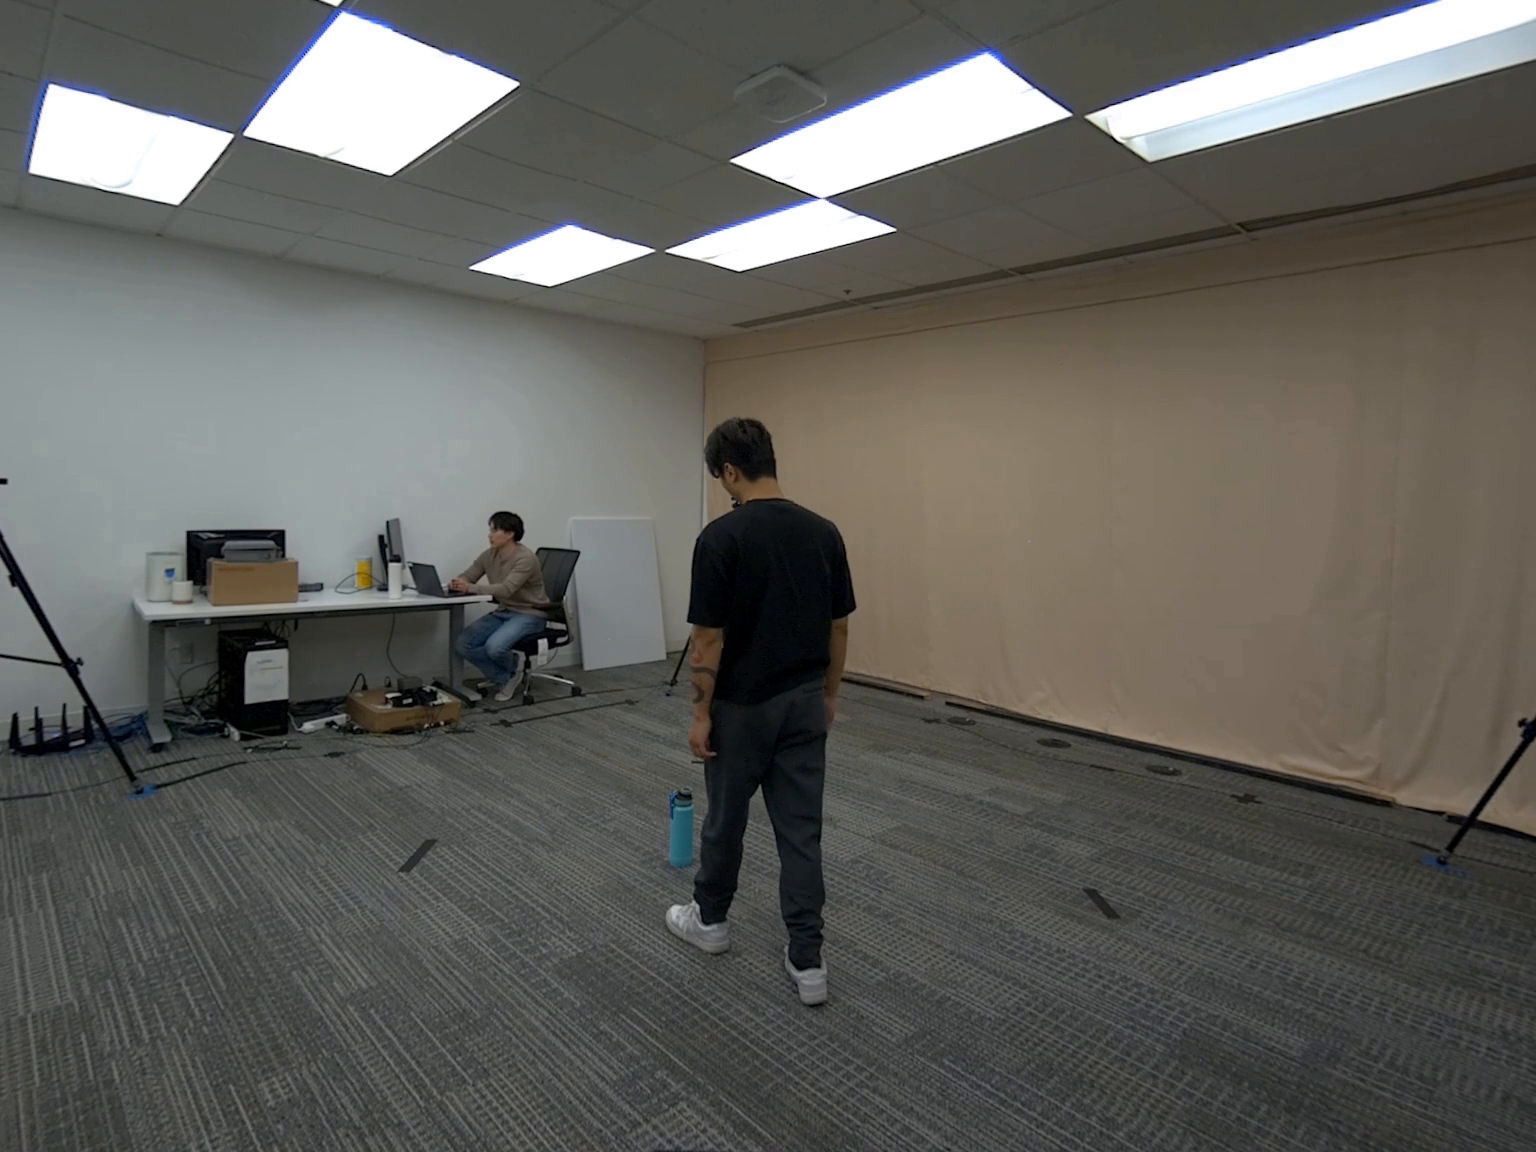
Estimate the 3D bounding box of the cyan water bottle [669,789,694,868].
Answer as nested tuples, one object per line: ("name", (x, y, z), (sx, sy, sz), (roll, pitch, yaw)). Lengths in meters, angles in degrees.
("cyan water bottle", (-0.339, 0.952, 3.204), (0.092, 0.282, 0.092), (1, 4, -1))
